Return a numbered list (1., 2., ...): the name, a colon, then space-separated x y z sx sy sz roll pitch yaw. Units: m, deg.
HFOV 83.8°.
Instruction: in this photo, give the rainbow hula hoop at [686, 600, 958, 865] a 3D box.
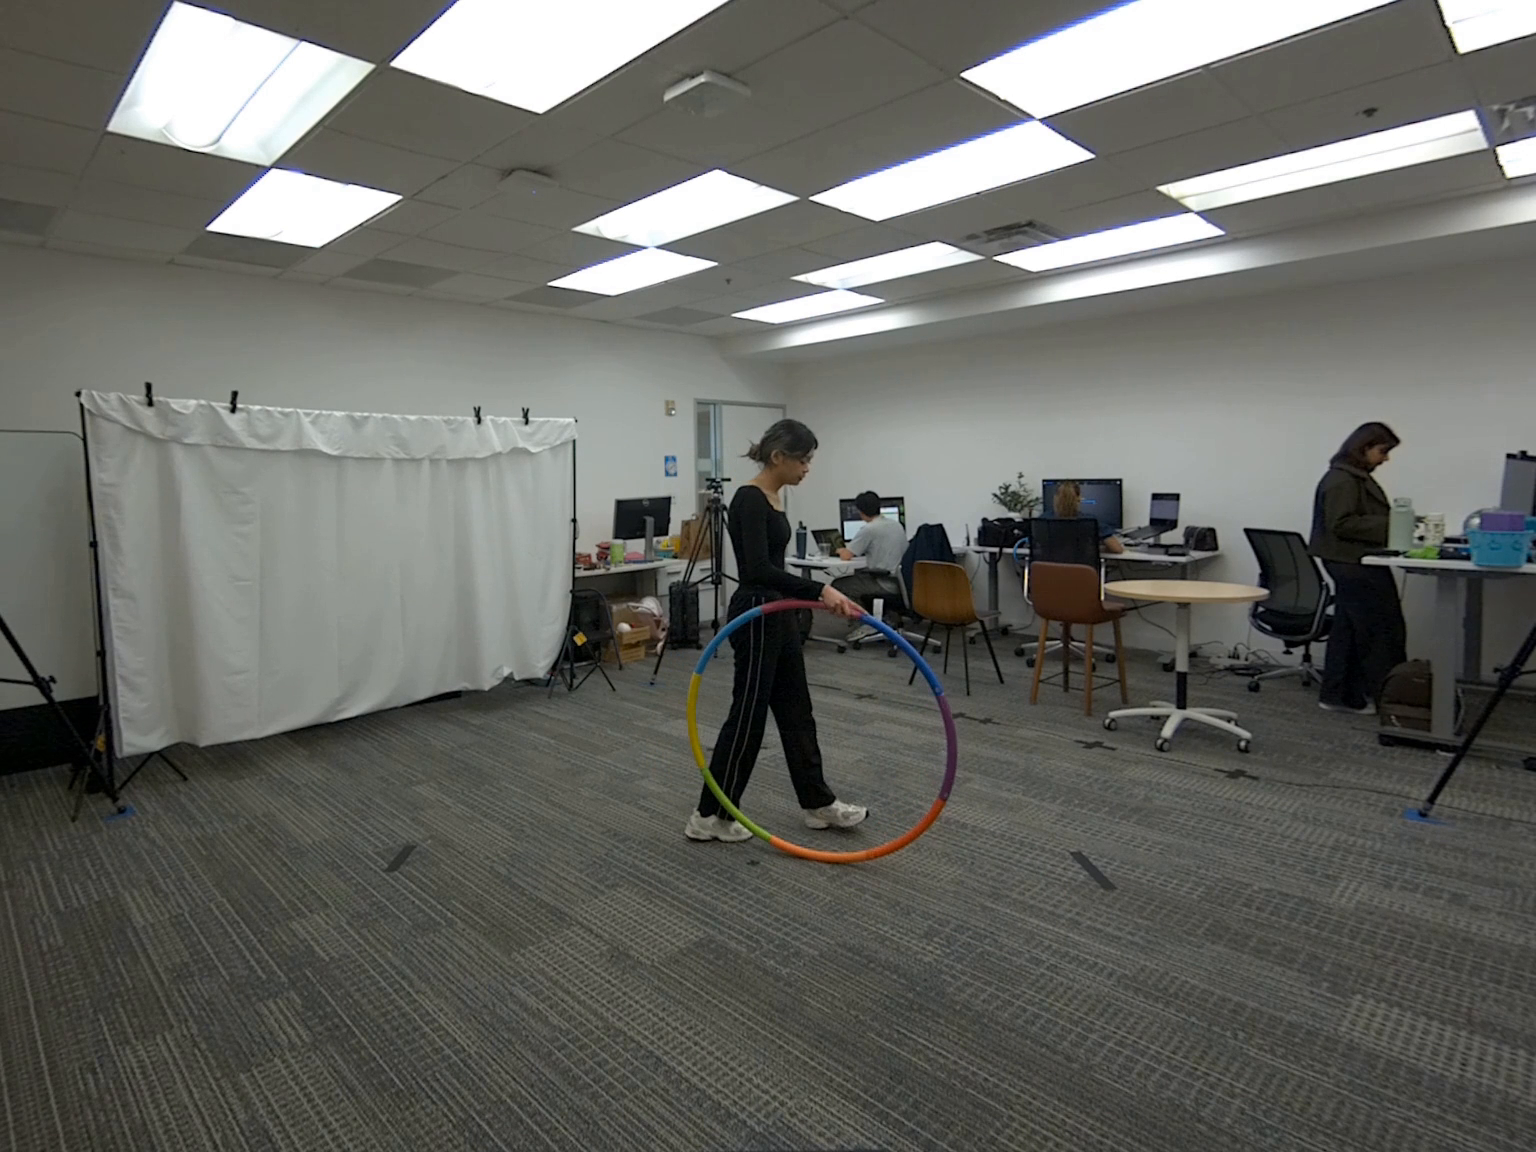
1. rainbow hula hoop: 0.169 0.559 3.055 0.999 0.971 0.035 1 8 22
